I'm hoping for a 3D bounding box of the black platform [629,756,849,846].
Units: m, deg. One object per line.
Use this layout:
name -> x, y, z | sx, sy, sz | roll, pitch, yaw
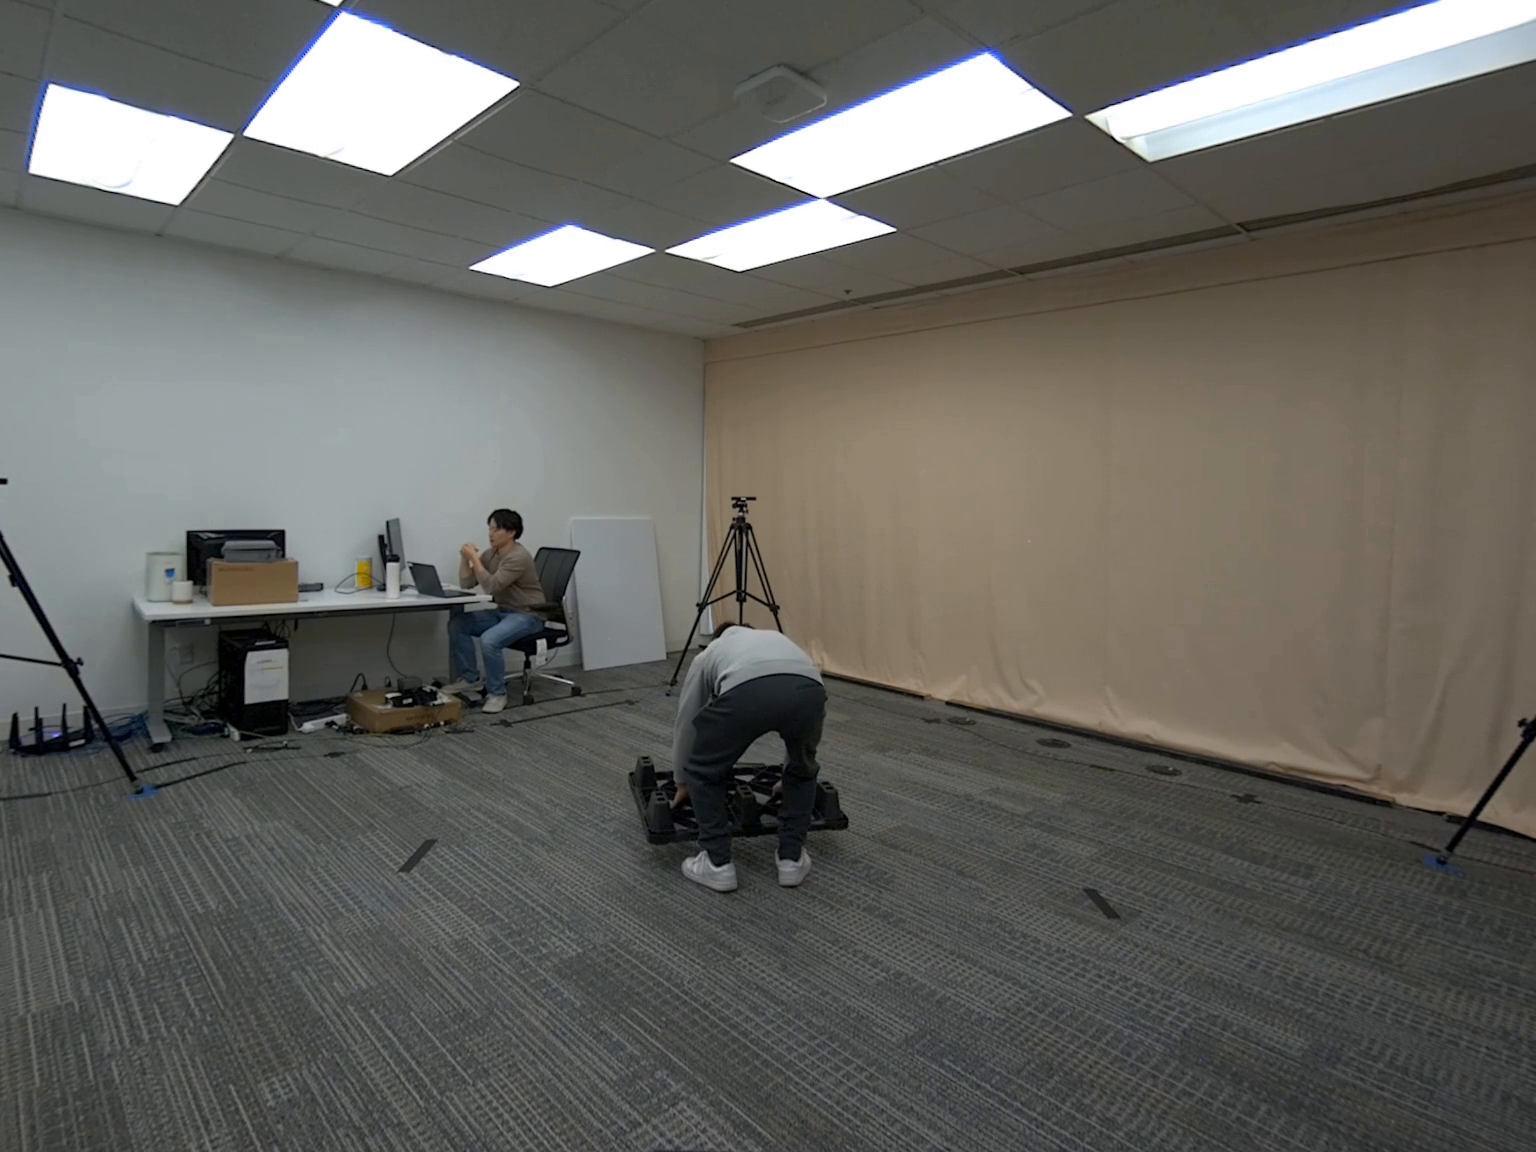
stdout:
black platform -> -0.155, 0.876, 3.487 | 0.796, 0.142, 0.616 | 0, 10, -16
